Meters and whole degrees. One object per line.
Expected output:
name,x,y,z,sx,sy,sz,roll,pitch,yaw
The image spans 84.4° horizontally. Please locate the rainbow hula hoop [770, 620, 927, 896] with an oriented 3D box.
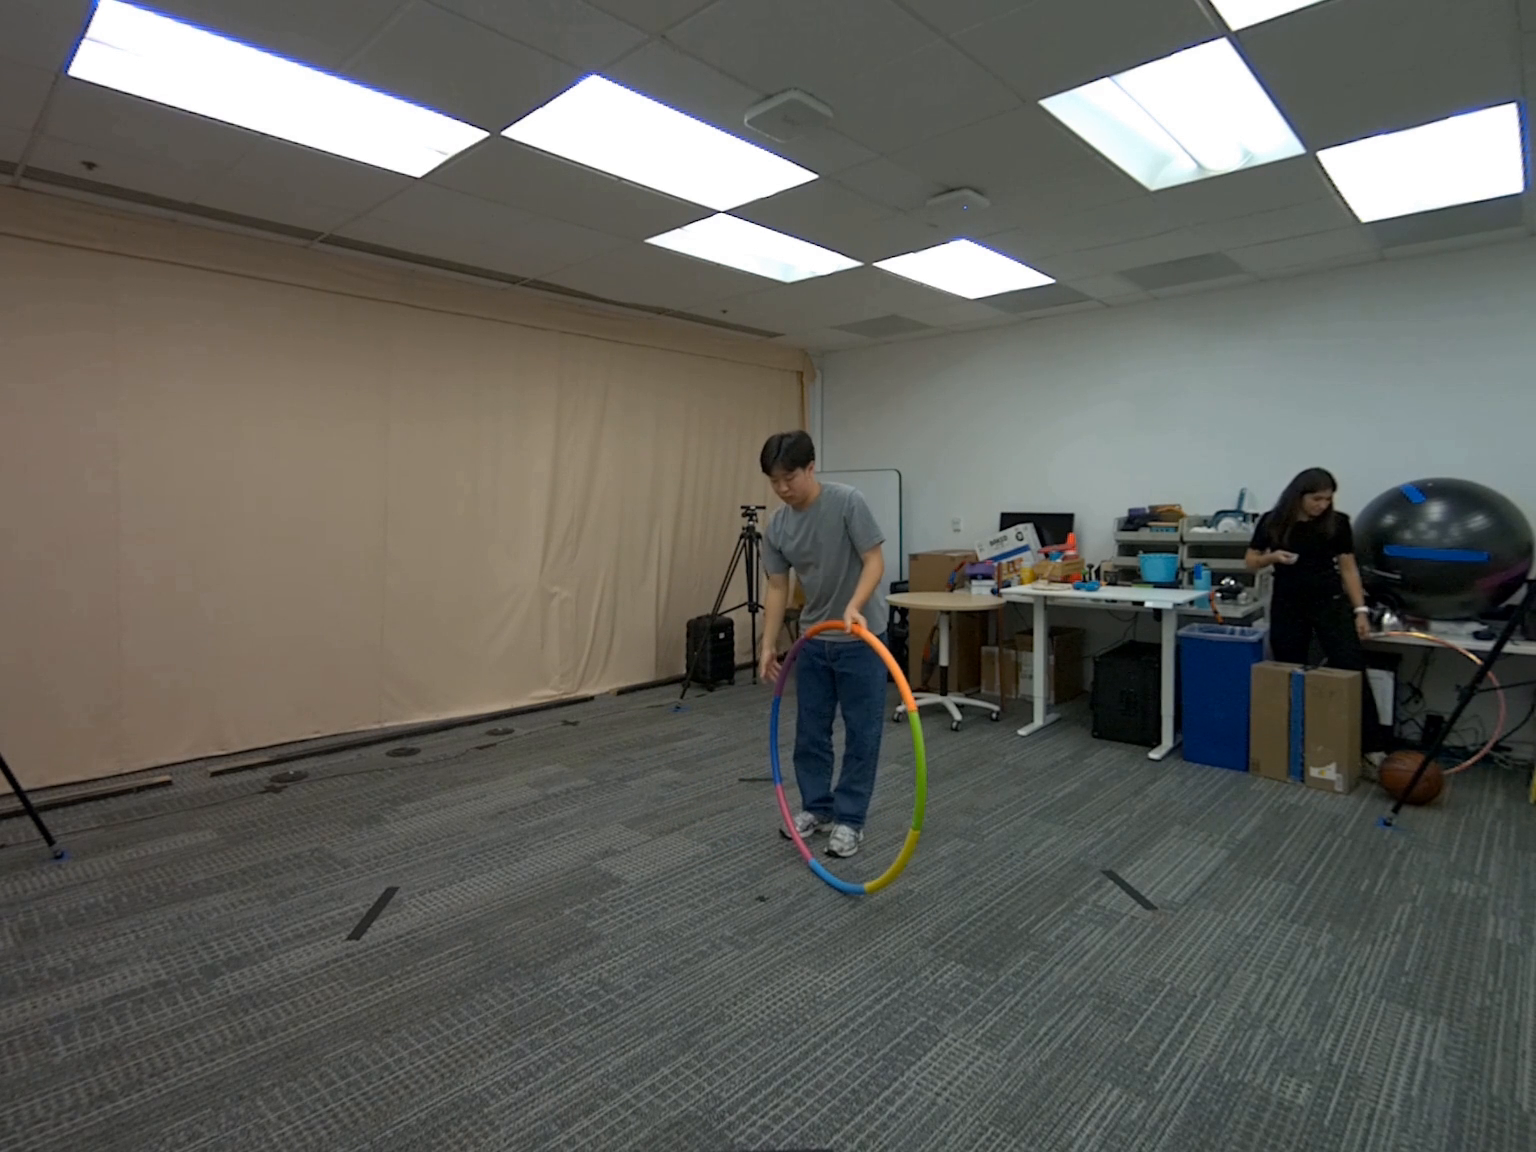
rainbow hula hoop,0.268,0.648,3.106,0.034,0.978,1.004,4,2,-26
